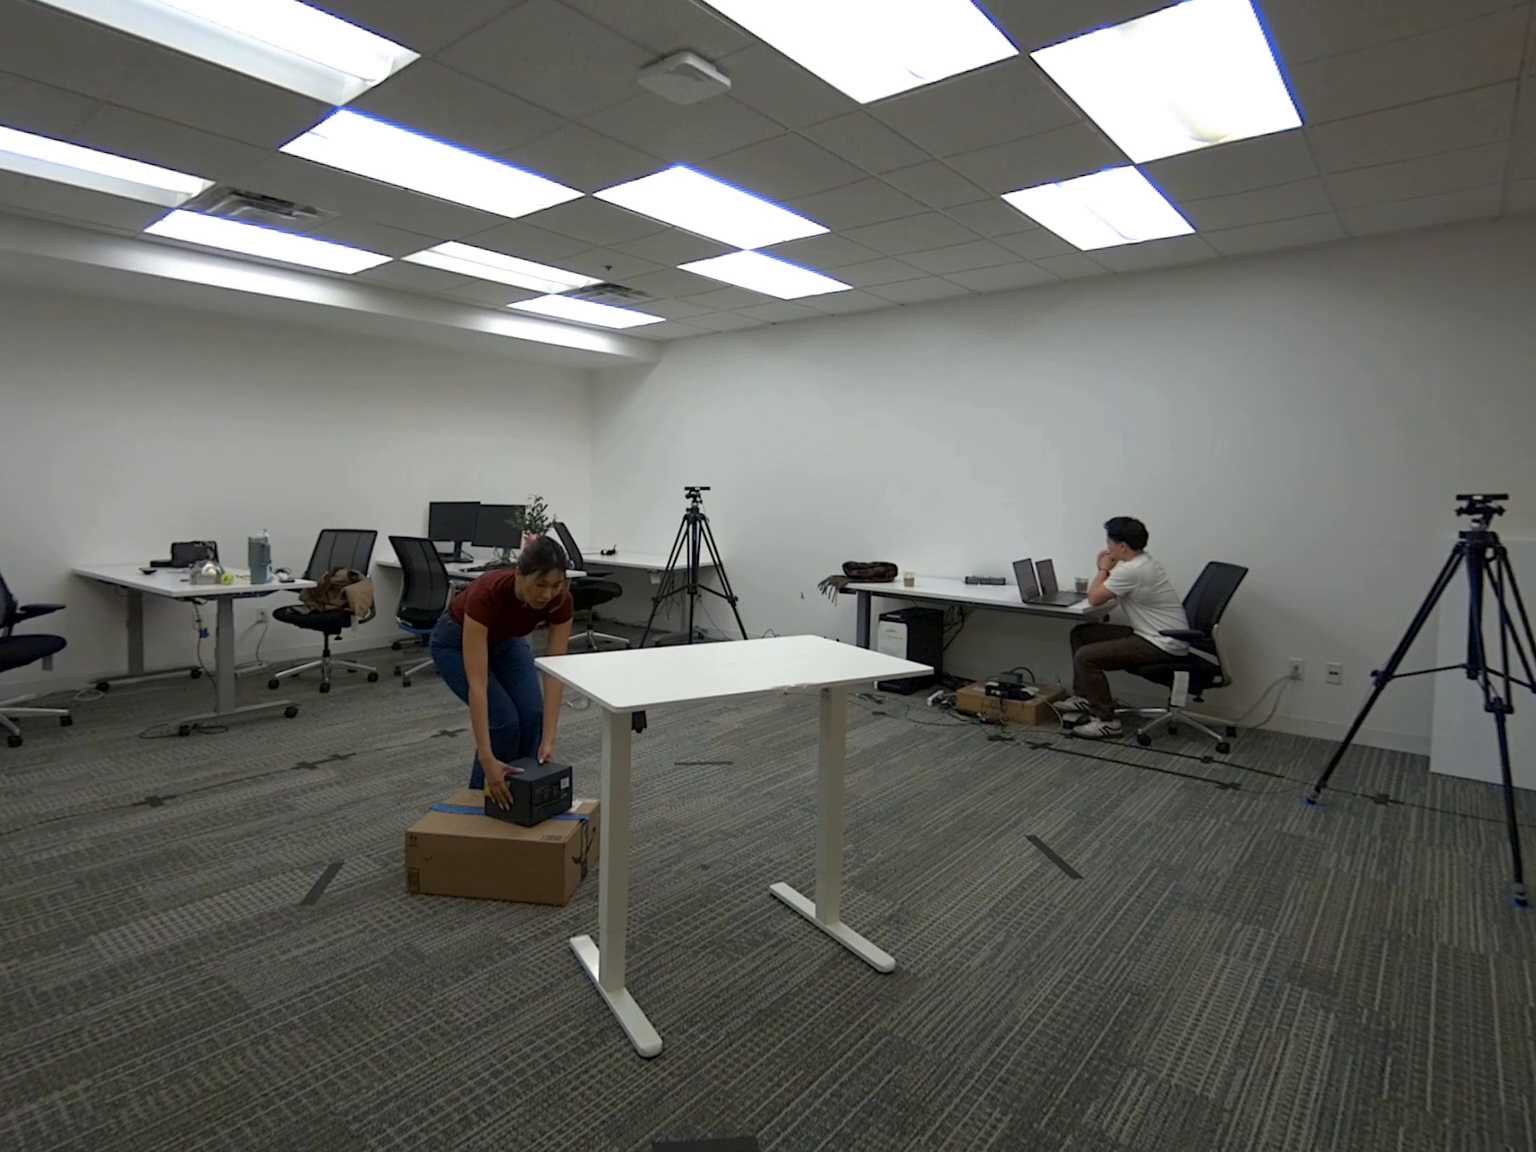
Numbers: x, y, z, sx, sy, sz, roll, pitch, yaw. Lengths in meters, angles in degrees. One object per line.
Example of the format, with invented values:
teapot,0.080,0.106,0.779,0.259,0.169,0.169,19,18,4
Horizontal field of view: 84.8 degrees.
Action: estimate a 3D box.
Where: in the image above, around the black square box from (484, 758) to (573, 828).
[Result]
black square box,-0.872,0.761,3.047,0.234,0.156,0.211,2,3,30
